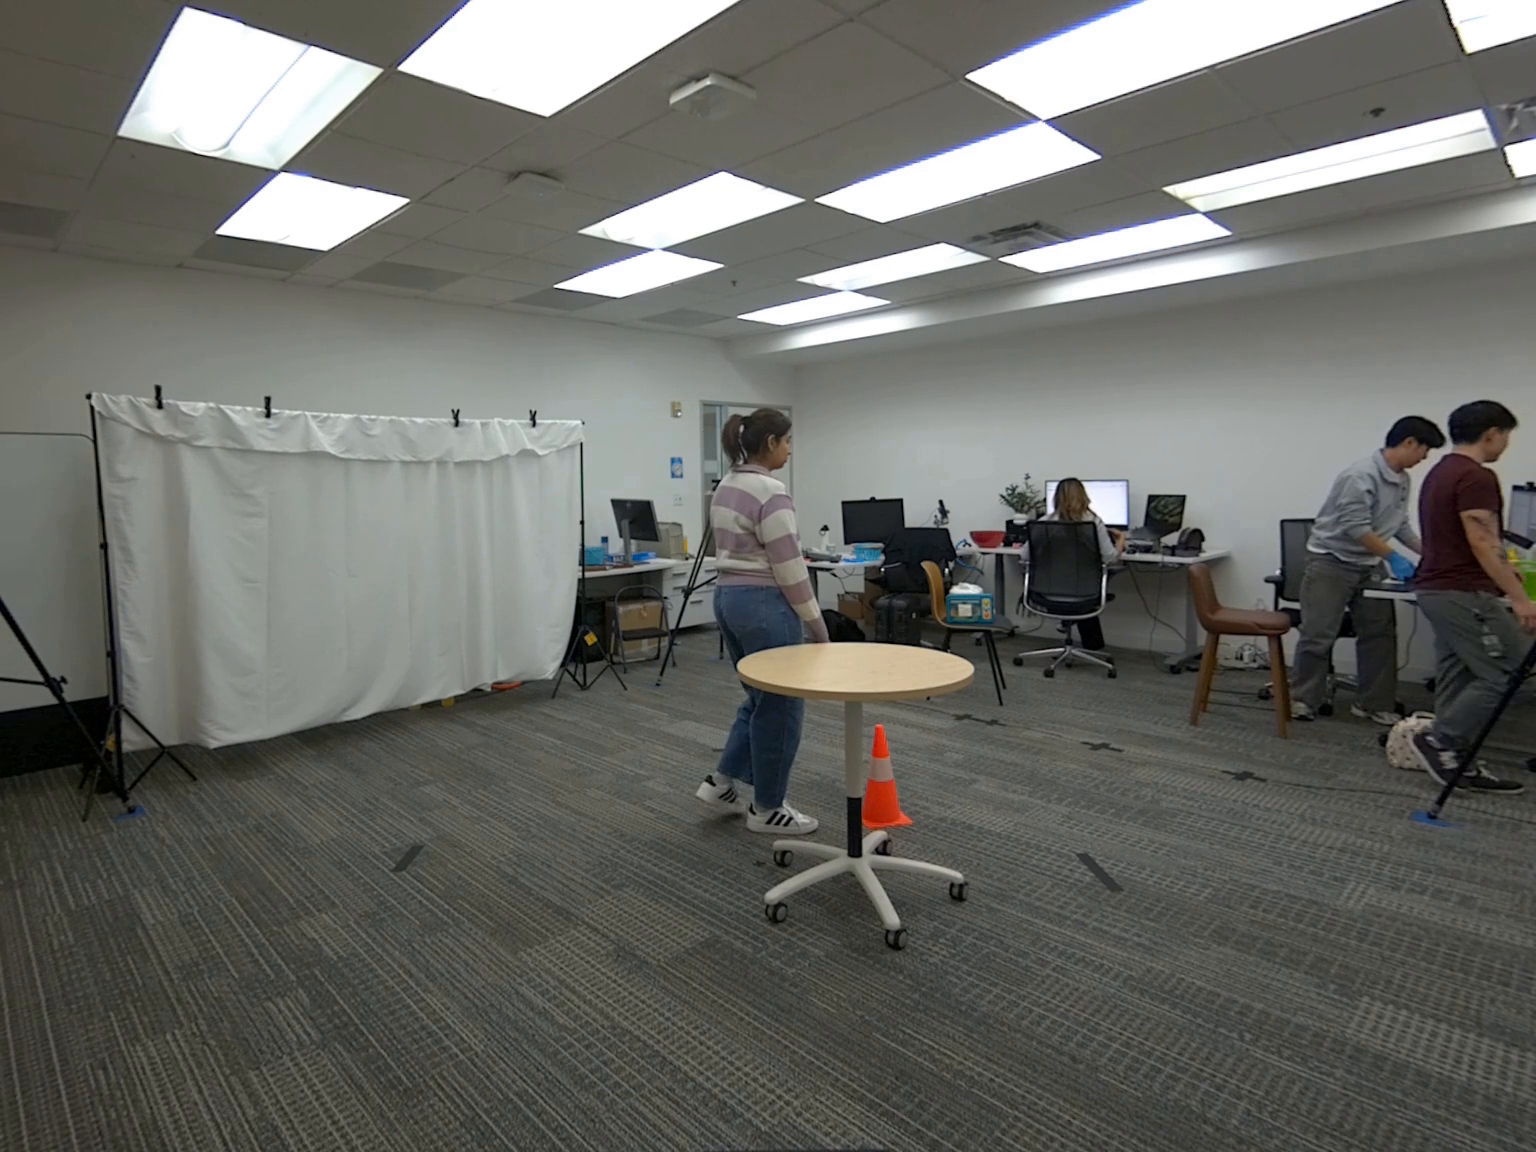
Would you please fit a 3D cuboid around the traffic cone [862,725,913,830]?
[{"bbox_3d":[0.463,0.804,3.506,0.202,0.381,0.208,-2,6,-18],"label":"traffic cone"}]
